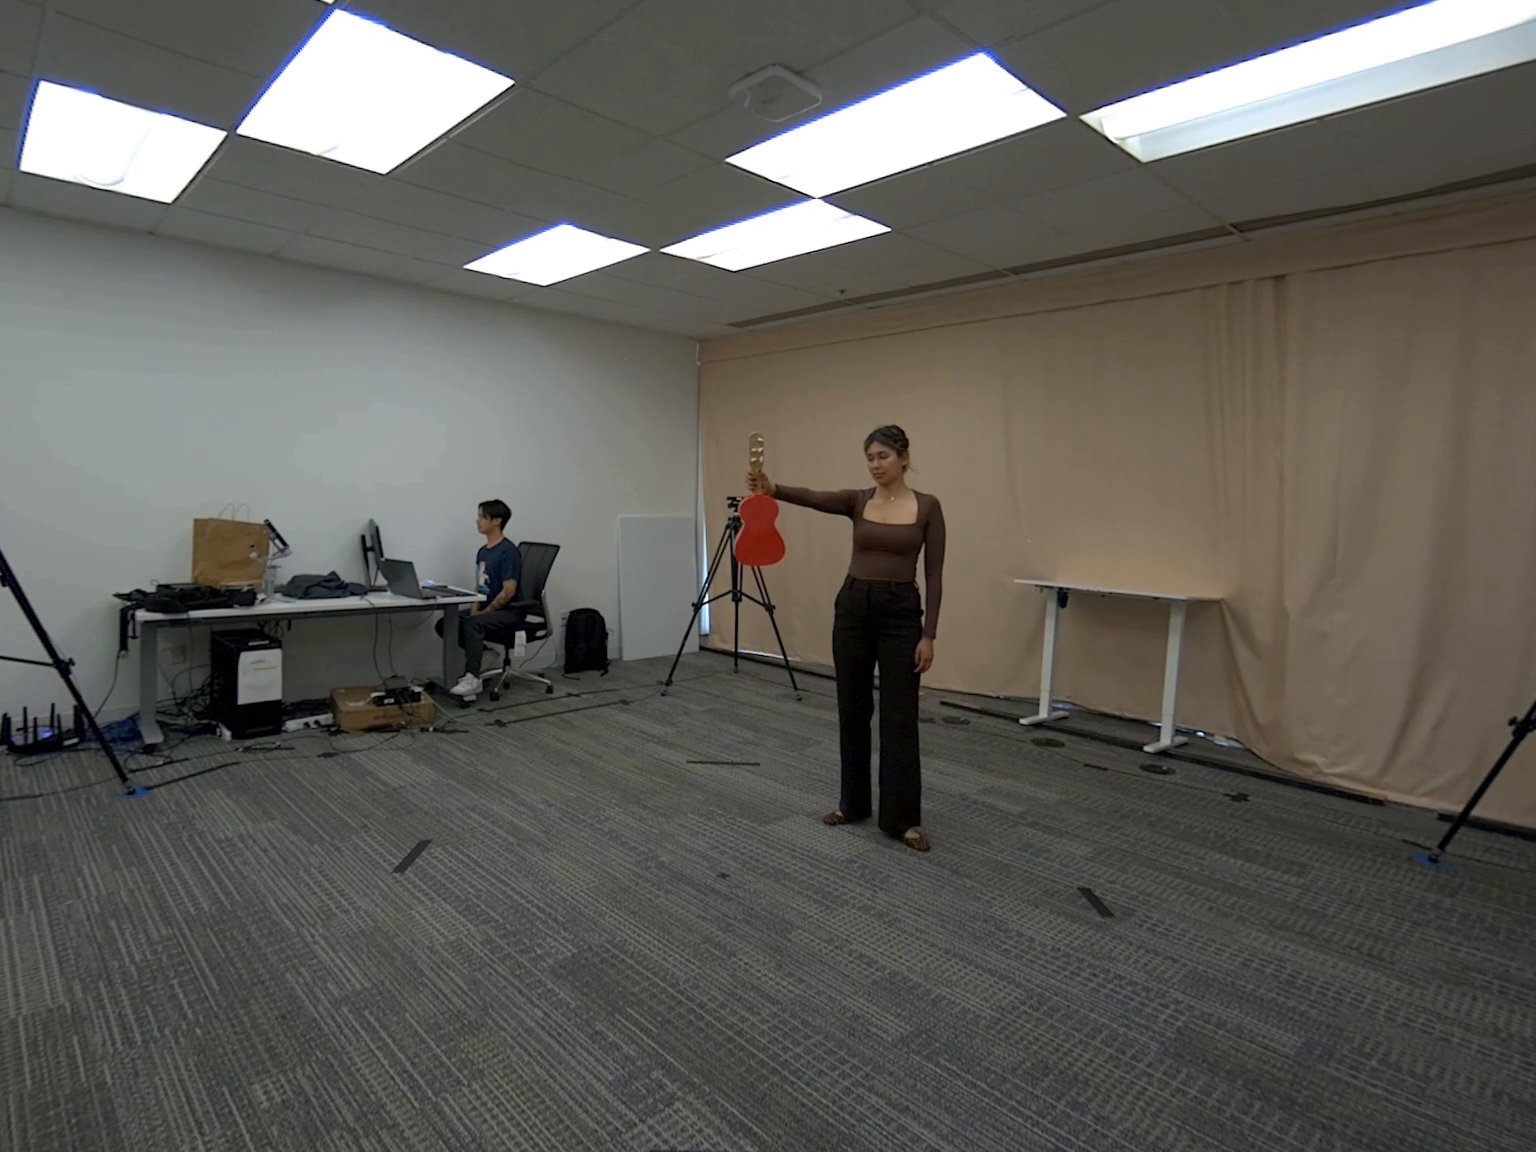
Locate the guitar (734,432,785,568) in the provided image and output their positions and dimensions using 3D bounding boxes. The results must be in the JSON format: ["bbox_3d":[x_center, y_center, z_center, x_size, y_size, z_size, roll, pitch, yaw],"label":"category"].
[{"bbox_3d":[-0.069,-0.281,3.179,0.193,0.493,0.071,-12,10,-1],"label":"guitar"}]
